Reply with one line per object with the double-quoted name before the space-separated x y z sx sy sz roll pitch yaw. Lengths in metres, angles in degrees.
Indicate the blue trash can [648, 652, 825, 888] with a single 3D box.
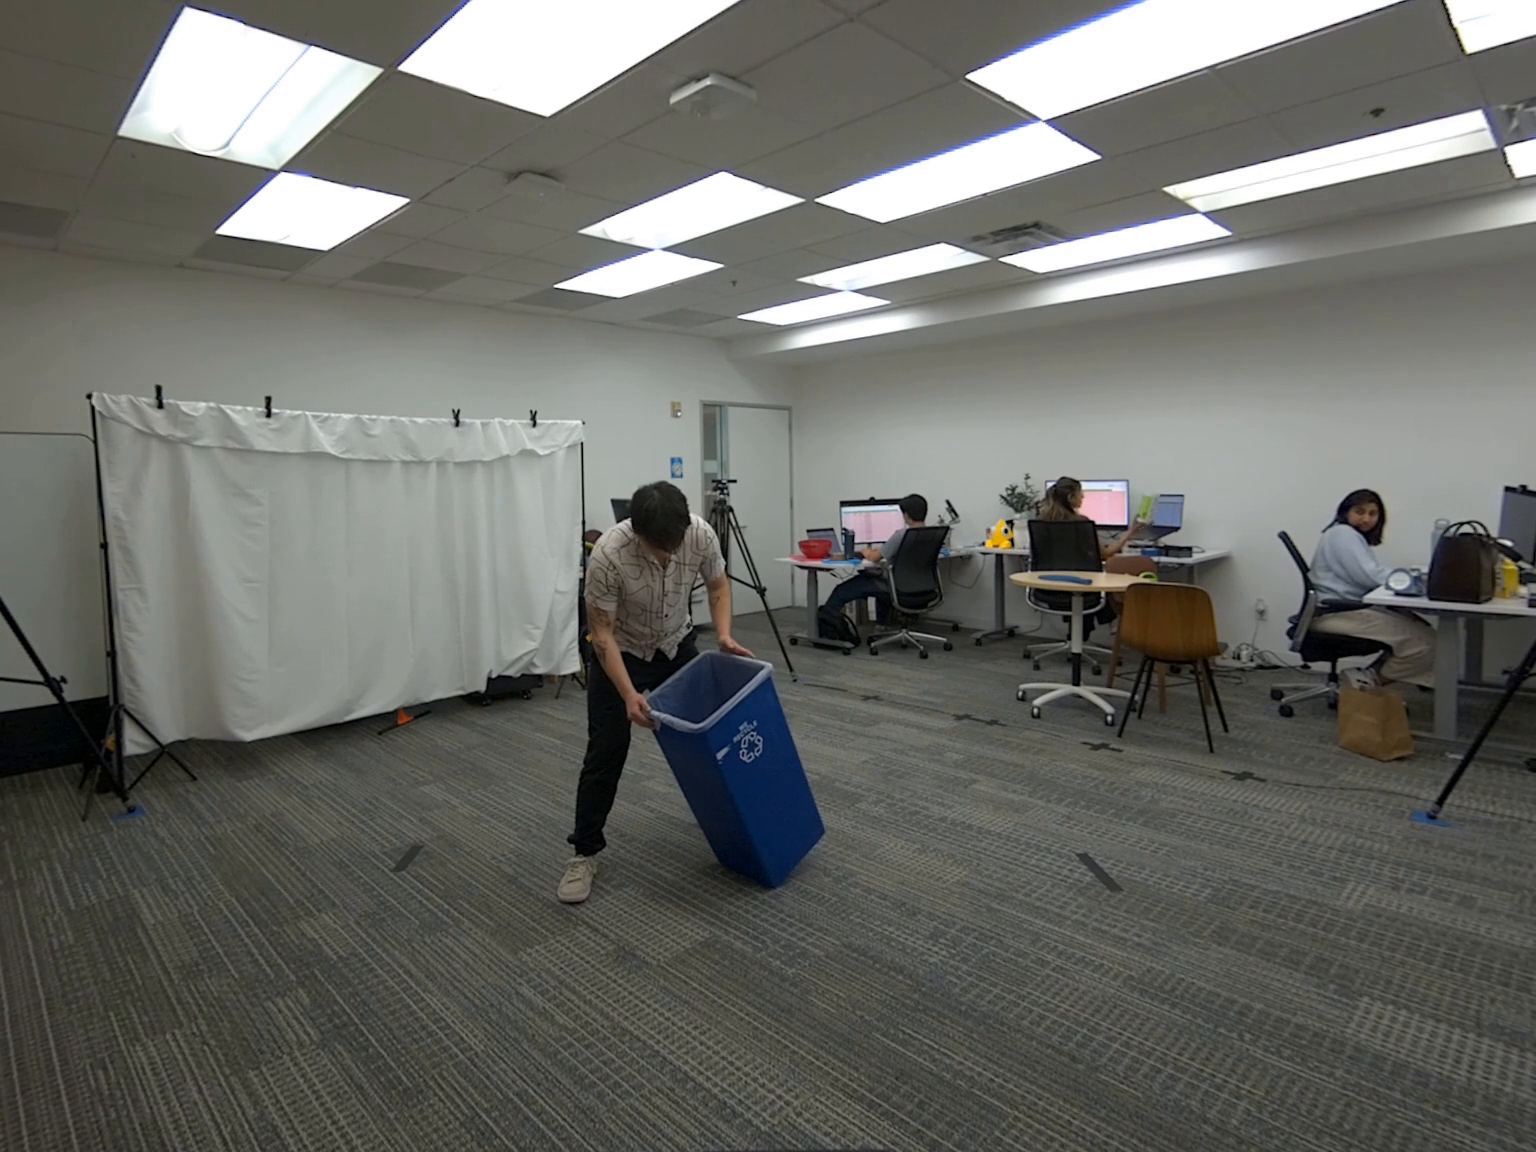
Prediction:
"blue trash can" -0.099 0.676 2.980 0.385 0.697 0.375 3 31 48
